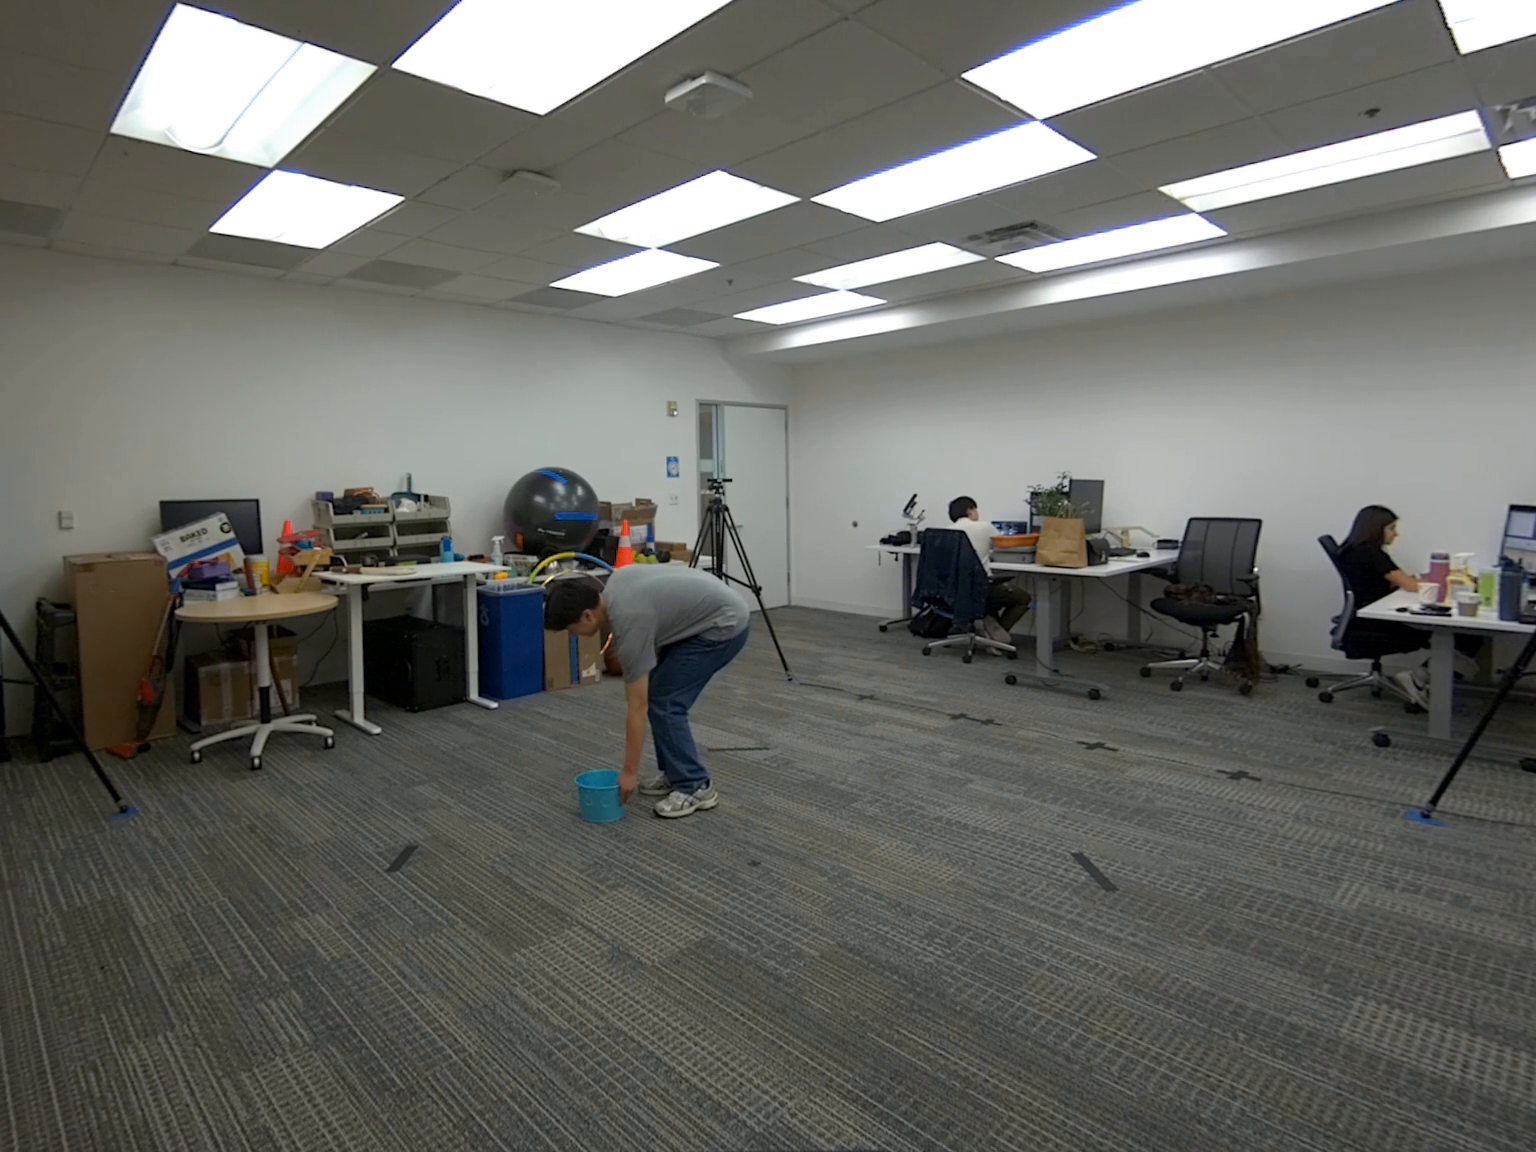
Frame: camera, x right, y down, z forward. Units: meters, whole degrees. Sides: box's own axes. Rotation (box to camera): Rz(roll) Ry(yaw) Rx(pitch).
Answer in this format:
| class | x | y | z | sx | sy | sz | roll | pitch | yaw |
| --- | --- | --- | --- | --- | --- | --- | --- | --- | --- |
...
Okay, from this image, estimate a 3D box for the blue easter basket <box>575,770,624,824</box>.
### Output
| class | x | y | z | sx | sy | sz | roll | pitch | yaw |
| --- | --- | --- | --- | --- | --- | --- | --- | --- | --- |
| blue easter basket | -0.687 | 0.912 | 3.583 | 0.243 | 0.155 | 0.245 | 2 | 5 | -2 |
